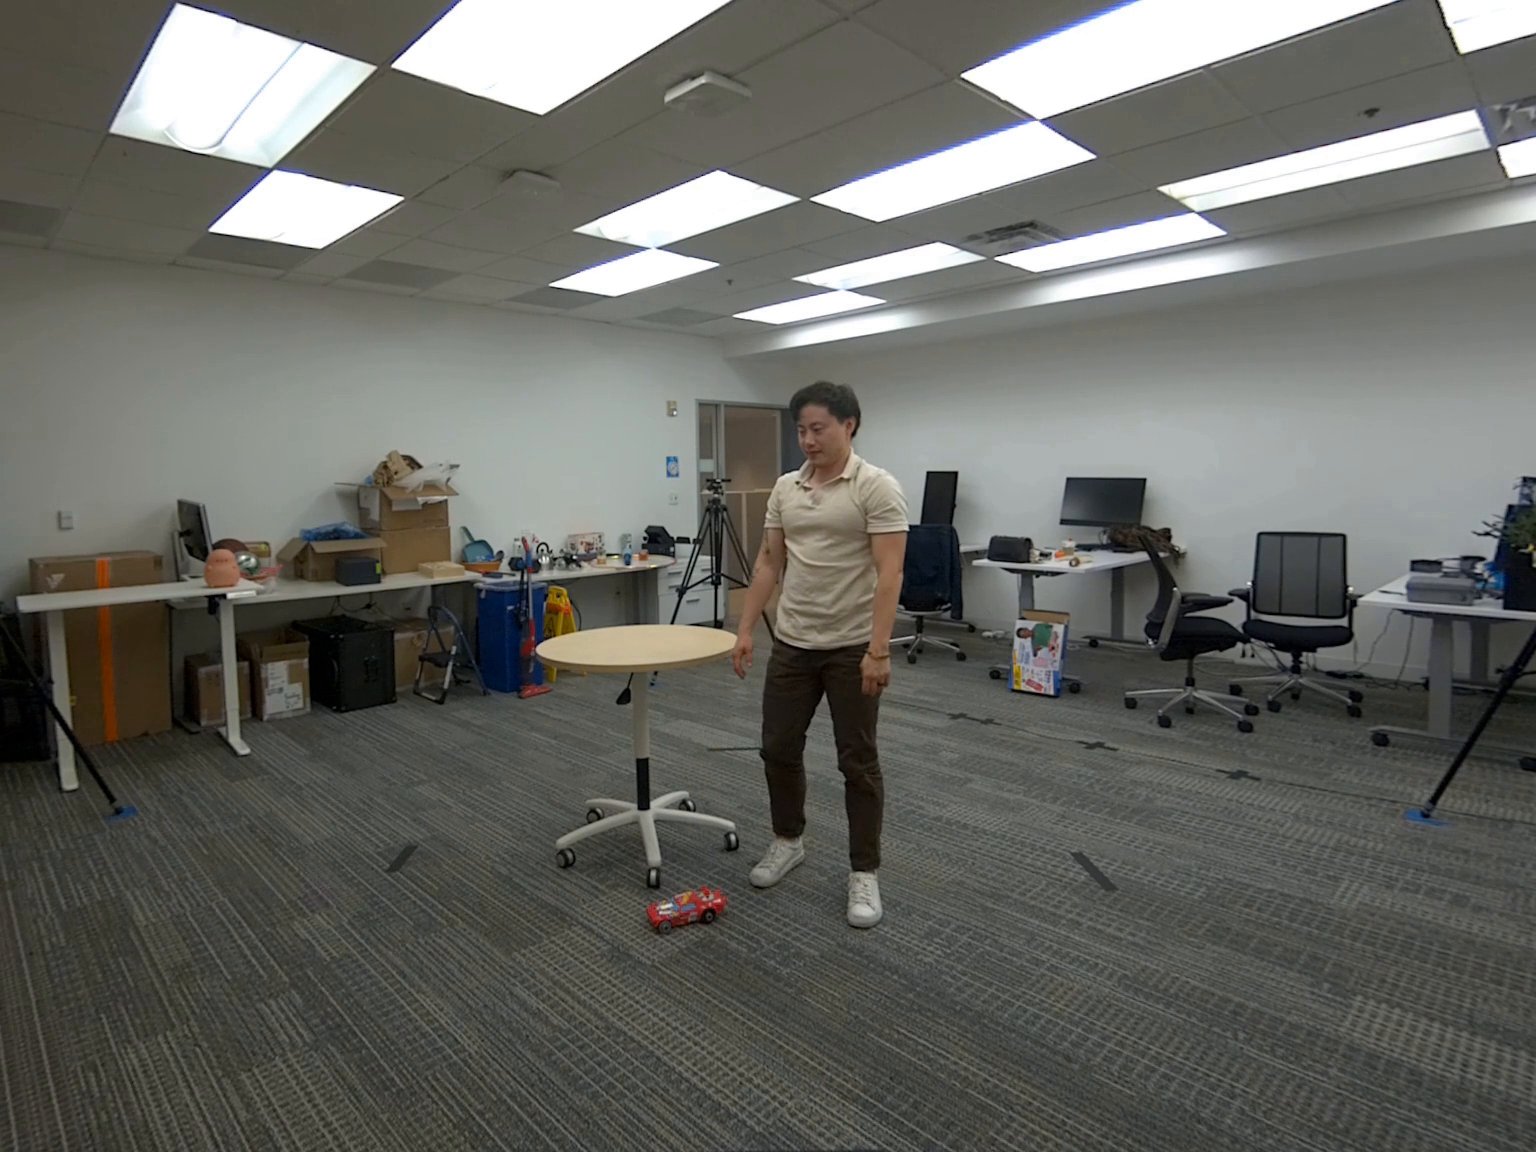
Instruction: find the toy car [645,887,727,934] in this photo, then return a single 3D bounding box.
[{"bbox_3d":[-0.253,1.062,2.715,0.251,0.082,0.133,-15,11,-20],"label":"toy car"}]
